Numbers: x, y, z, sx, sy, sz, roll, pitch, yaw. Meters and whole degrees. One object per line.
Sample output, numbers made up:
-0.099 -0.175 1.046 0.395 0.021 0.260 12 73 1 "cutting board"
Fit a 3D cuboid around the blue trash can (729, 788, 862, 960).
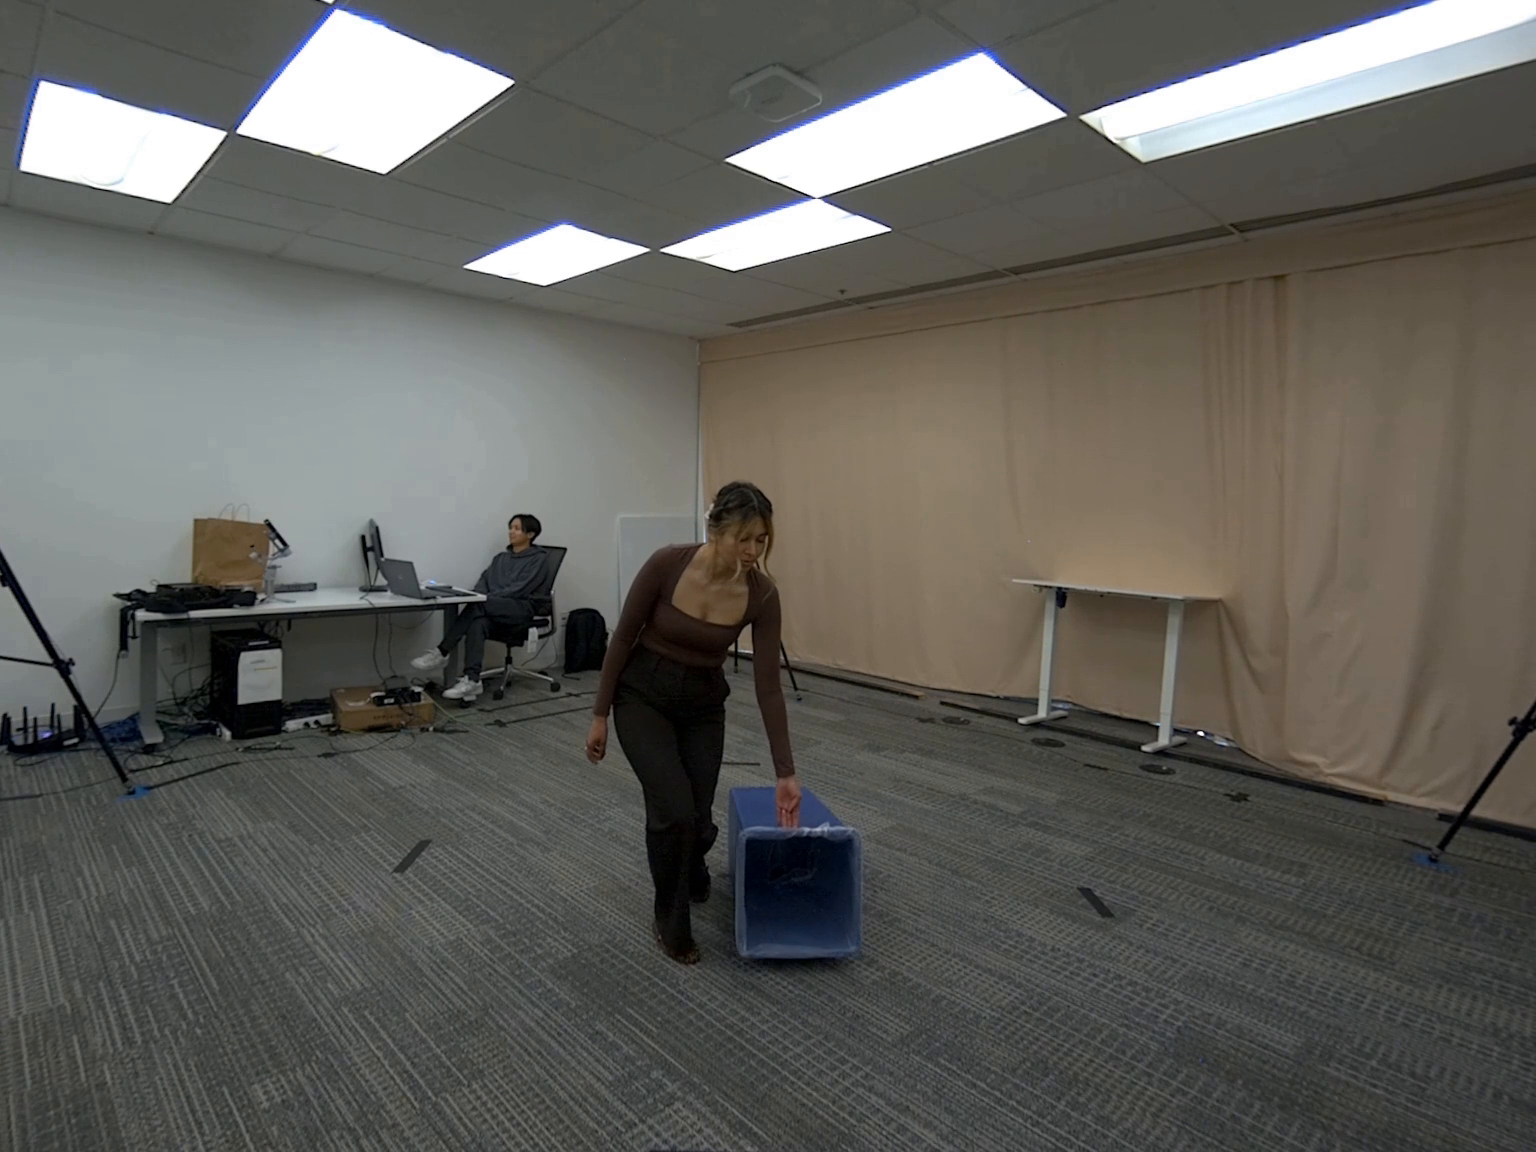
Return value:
0.043 0.947 2.827 0.372 0.379 0.716 1 -2 -8 "blue trash can"
